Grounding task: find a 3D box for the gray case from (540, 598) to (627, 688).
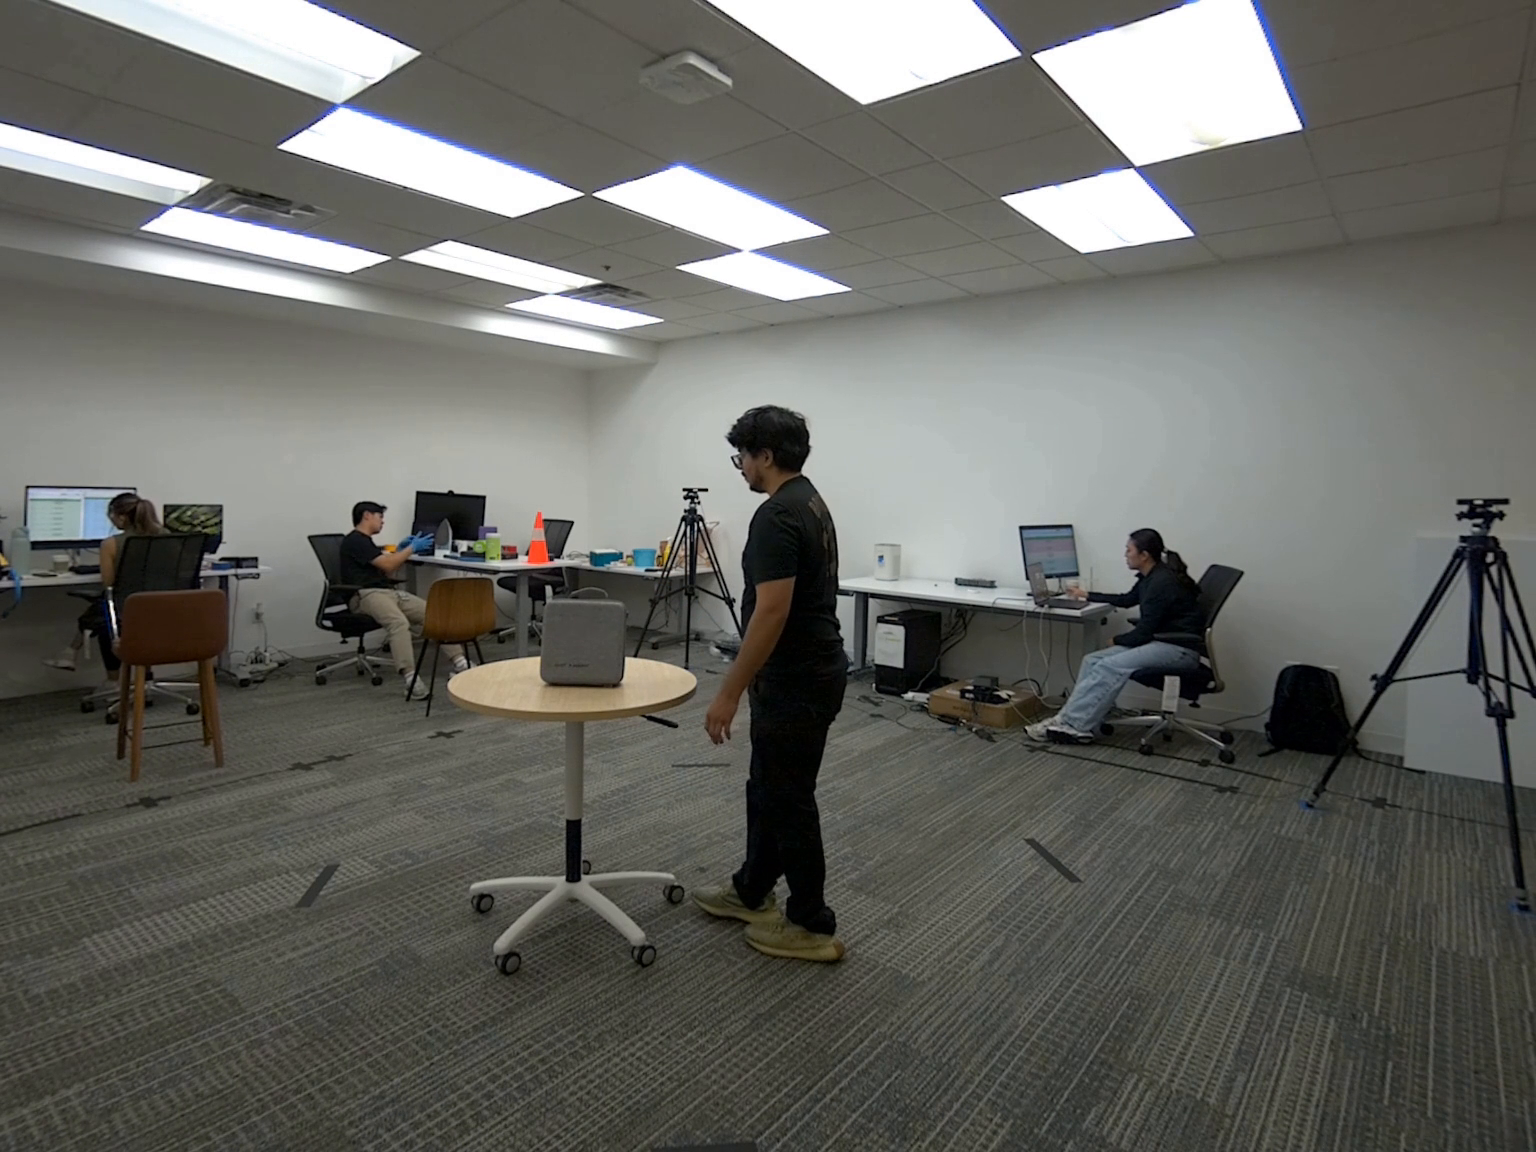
[{"bbox_3d":[-0.580,0.198,2.635,0.257,0.262,0.103,2,-7,1],"label":"gray case"}]
